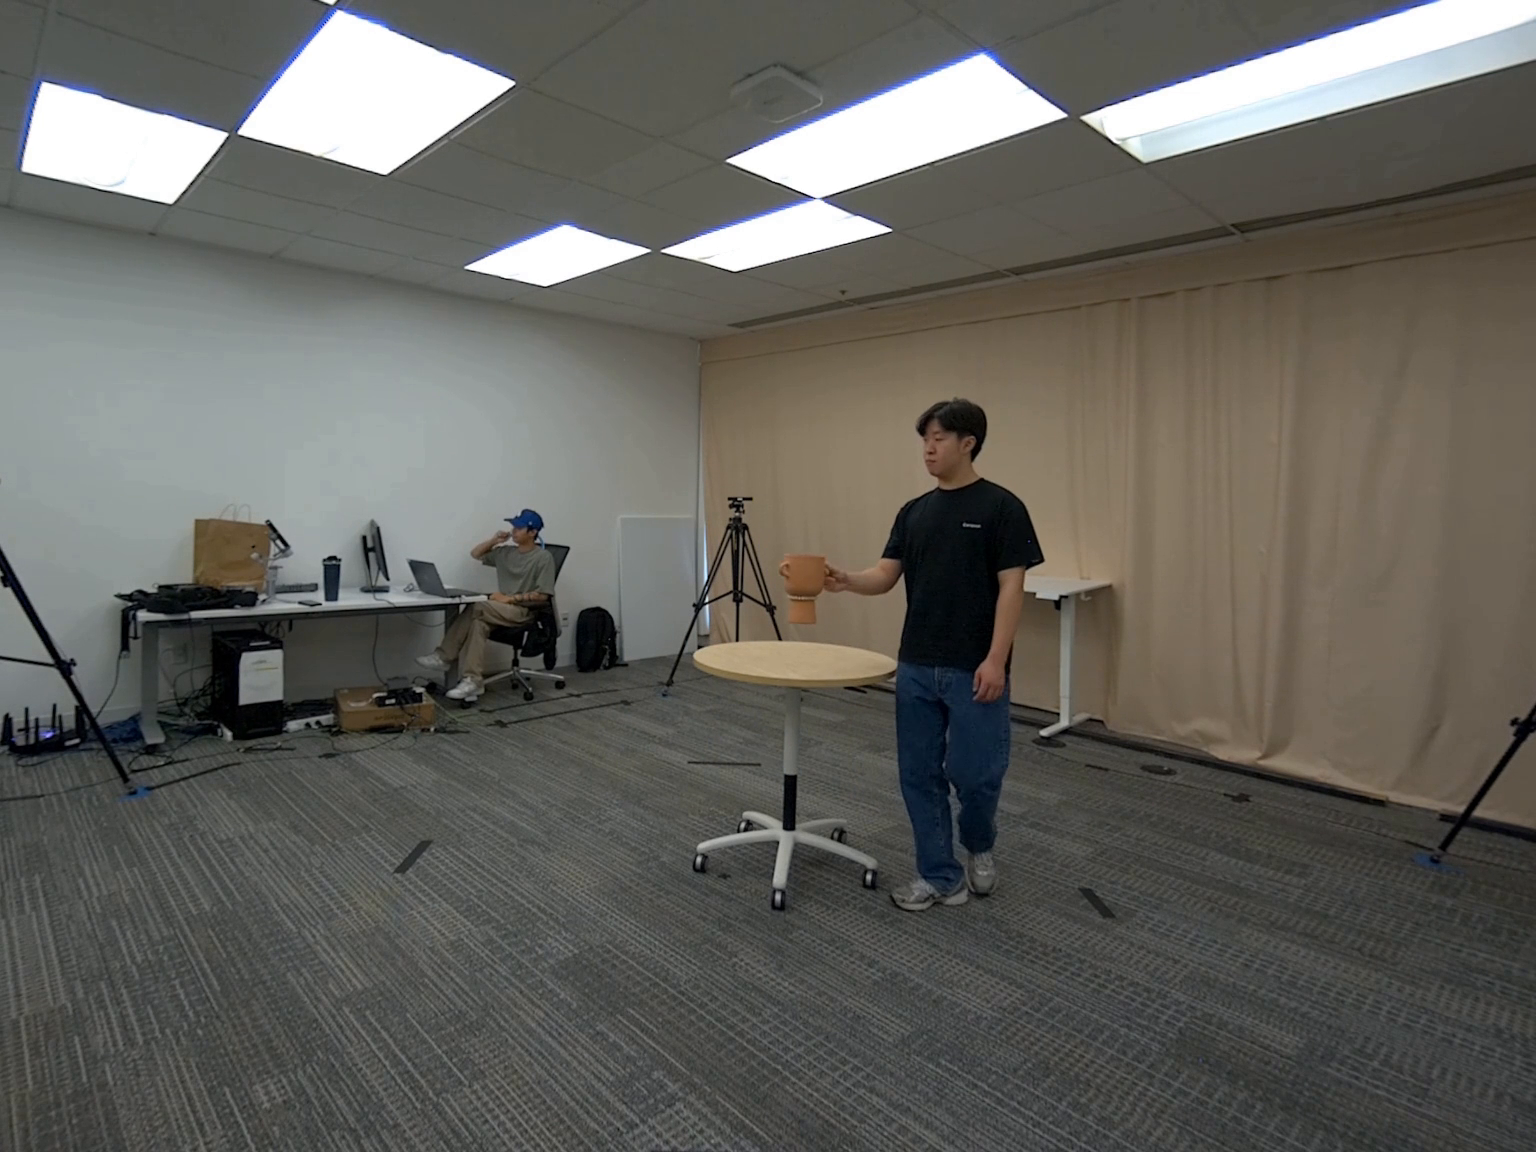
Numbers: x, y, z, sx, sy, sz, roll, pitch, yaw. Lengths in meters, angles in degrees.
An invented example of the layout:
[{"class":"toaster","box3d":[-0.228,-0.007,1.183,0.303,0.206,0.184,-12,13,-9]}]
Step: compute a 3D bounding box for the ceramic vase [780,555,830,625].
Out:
[{"class":"ceramic vase","box3d":[0.116,0.043,2.752,0.159,0.219,0.134,3,2,3]}]
